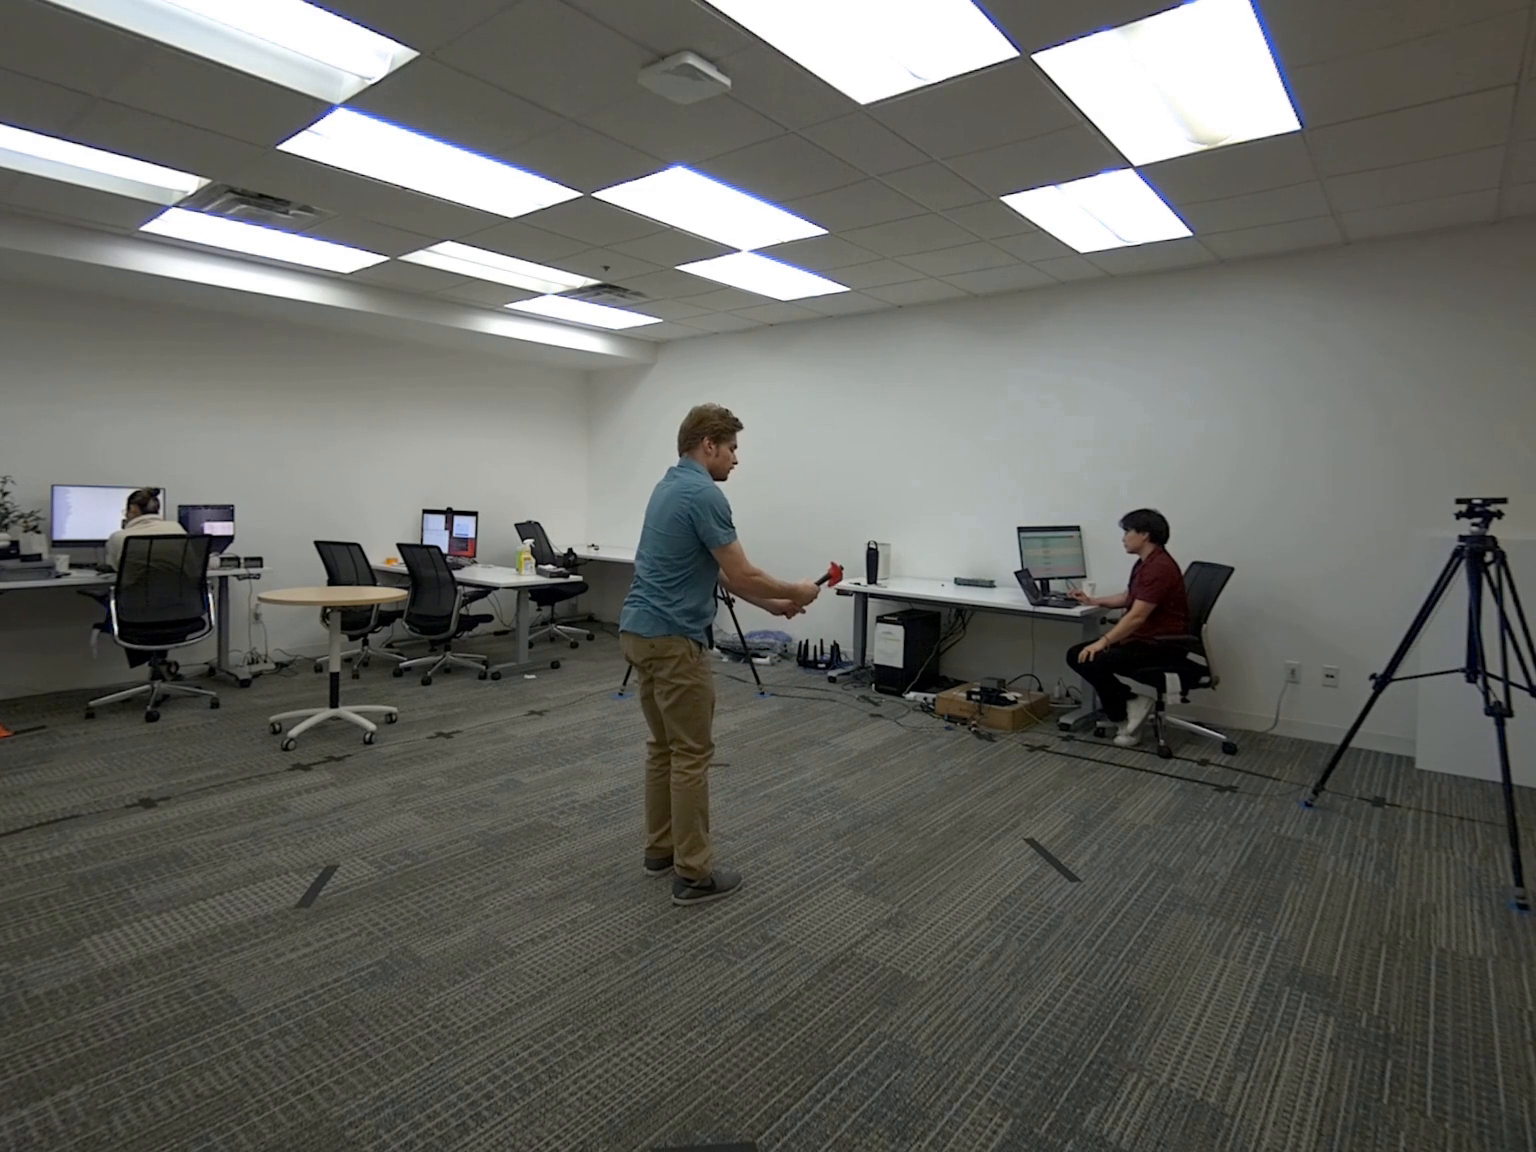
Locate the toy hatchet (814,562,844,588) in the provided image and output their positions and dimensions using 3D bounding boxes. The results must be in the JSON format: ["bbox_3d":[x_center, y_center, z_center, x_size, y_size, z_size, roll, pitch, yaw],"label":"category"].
[{"bbox_3d":[0.161,0.063,3.119,0.125,0.270,0.031,34,18,-45],"label":"toy hatchet"}]
